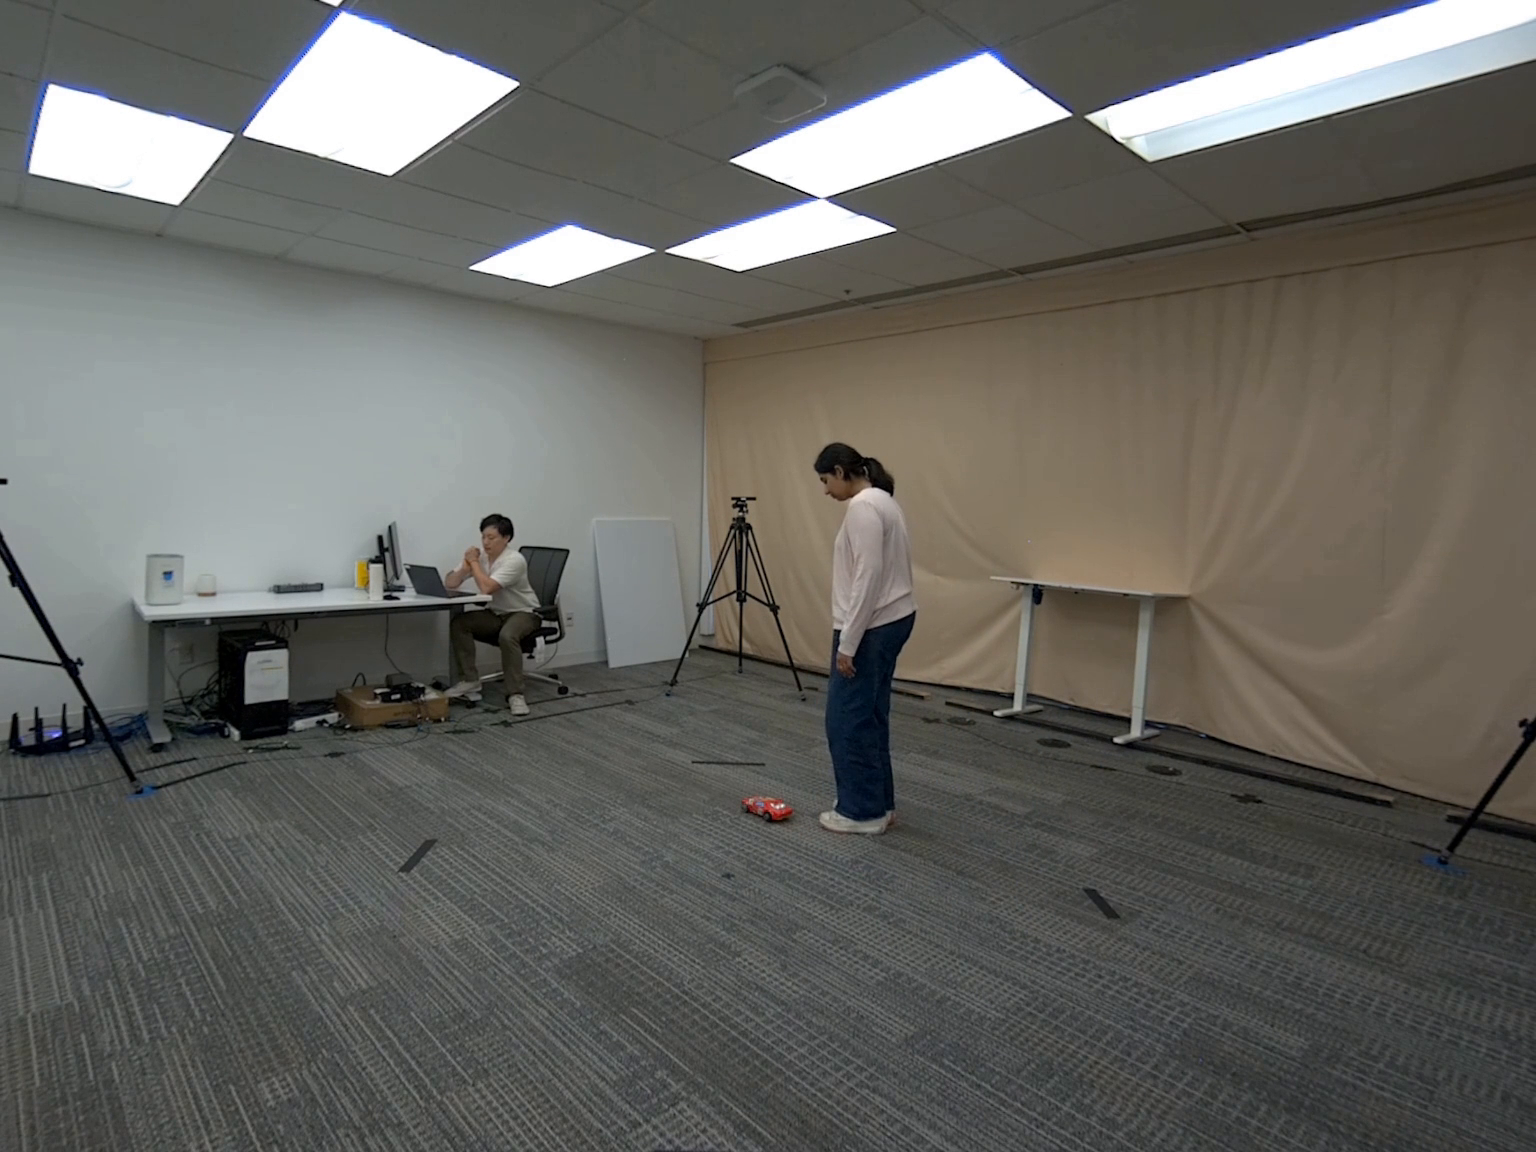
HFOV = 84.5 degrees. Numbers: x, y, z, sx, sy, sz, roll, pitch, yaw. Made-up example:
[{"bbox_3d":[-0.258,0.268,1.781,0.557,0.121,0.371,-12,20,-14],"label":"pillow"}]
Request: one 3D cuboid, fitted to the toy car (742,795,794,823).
[{"bbox_3d":[-0.008,1.021,3.714,0.127,0.083,0.259,-2,-5,-43],"label":"toy car"}]
